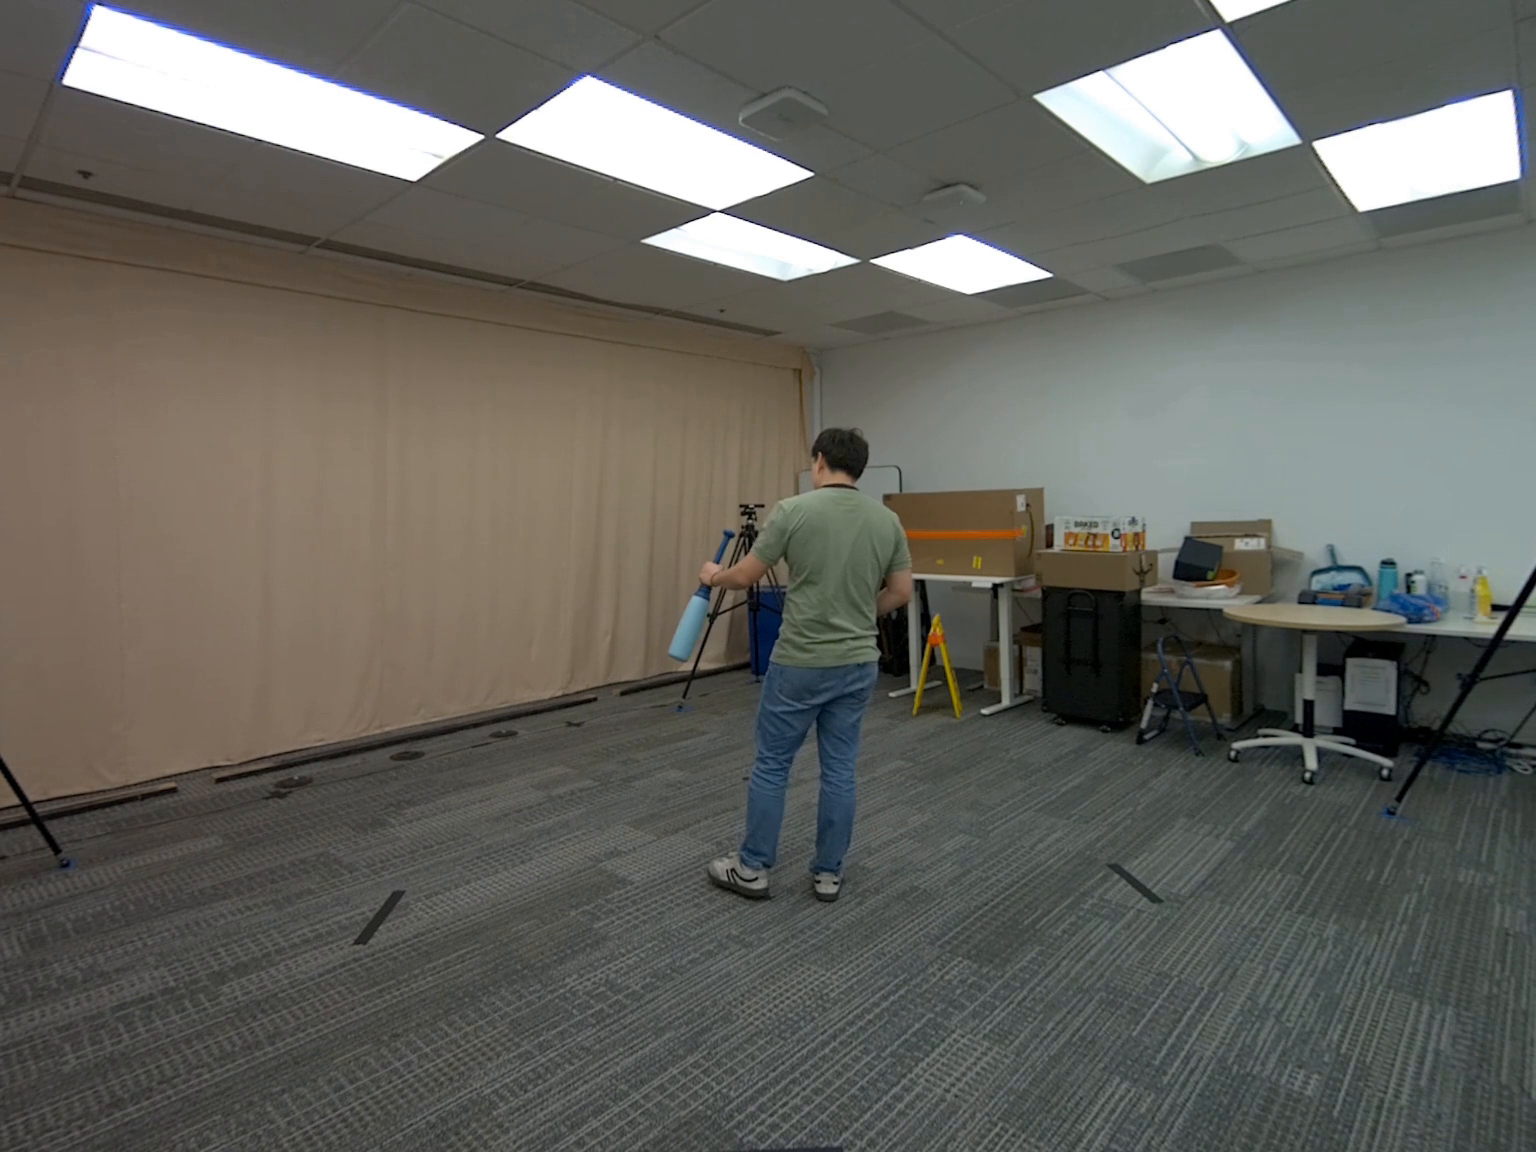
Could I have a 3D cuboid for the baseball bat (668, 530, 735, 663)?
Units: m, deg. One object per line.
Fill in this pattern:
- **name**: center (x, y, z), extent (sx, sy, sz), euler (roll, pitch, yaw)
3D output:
- **baseball bat**: center (-0.238, 0.073, 3.249), extent (0.089, 0.544, 0.088), euler (22, -11, 2)
